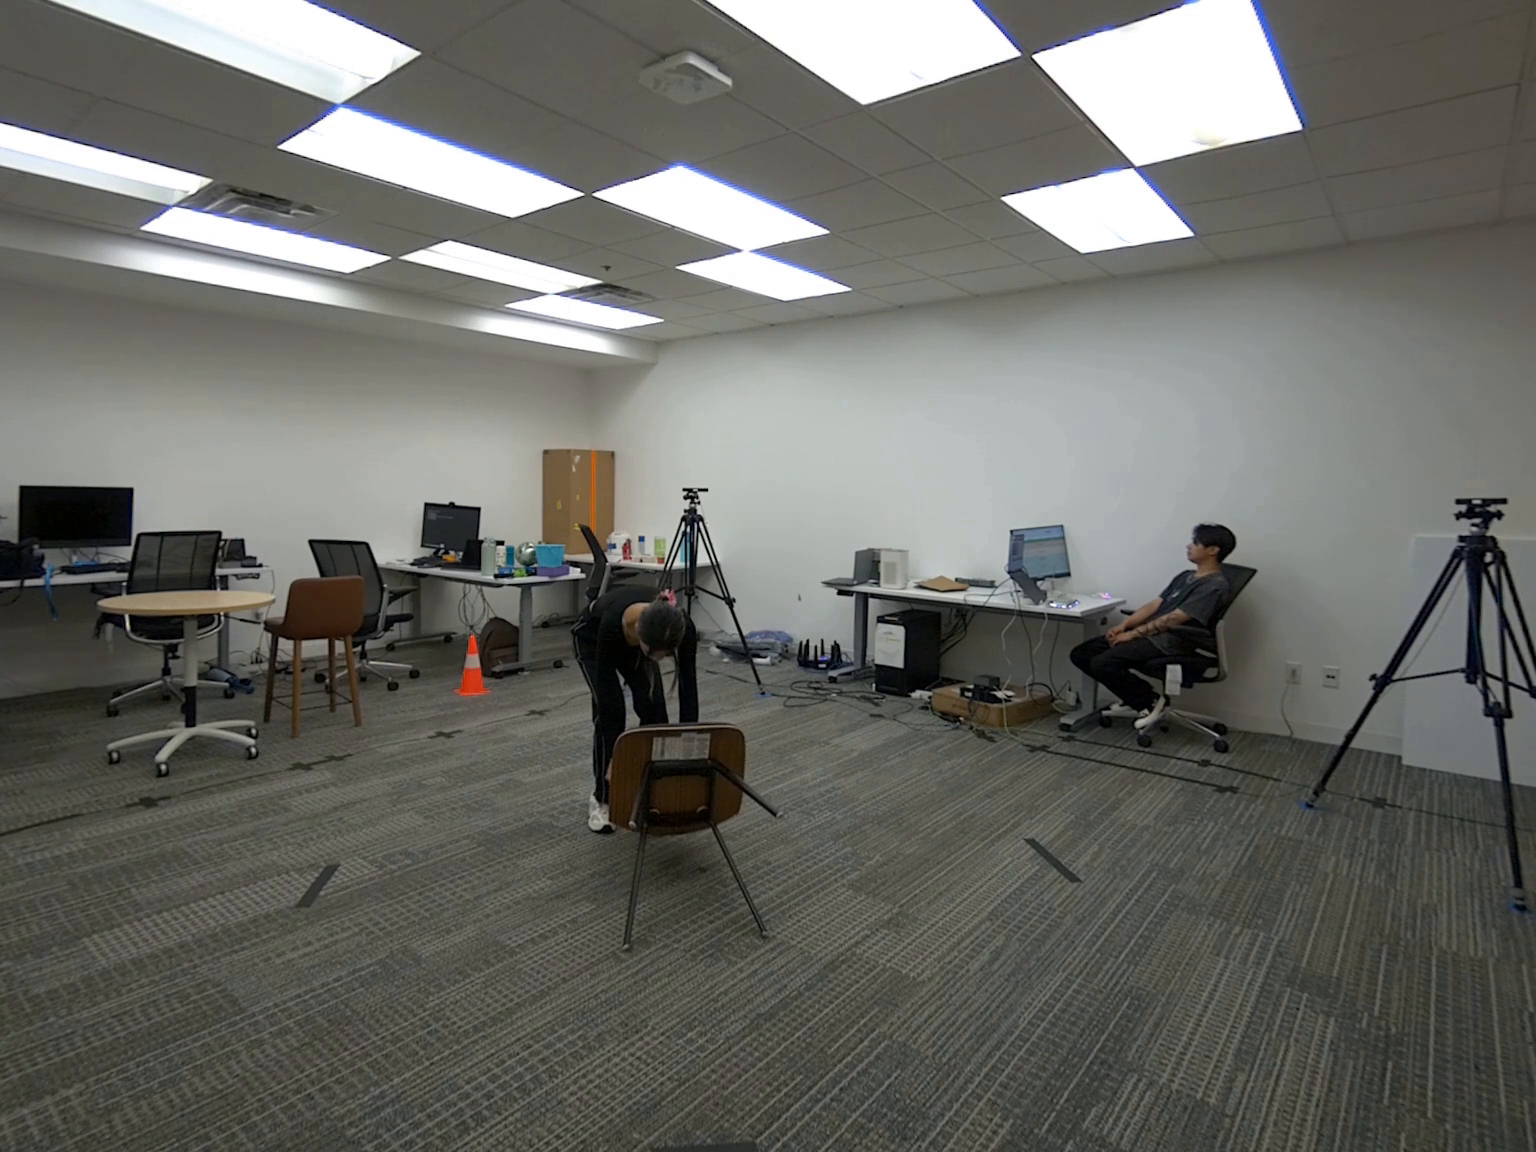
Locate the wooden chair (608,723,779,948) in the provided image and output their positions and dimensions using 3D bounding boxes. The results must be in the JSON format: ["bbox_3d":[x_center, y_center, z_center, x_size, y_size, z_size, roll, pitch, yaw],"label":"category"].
[{"bbox_3d":[-0.311,0.738,2.927,0.471,0.516,0.902,0,16,-15],"label":"wooden chair"}]
